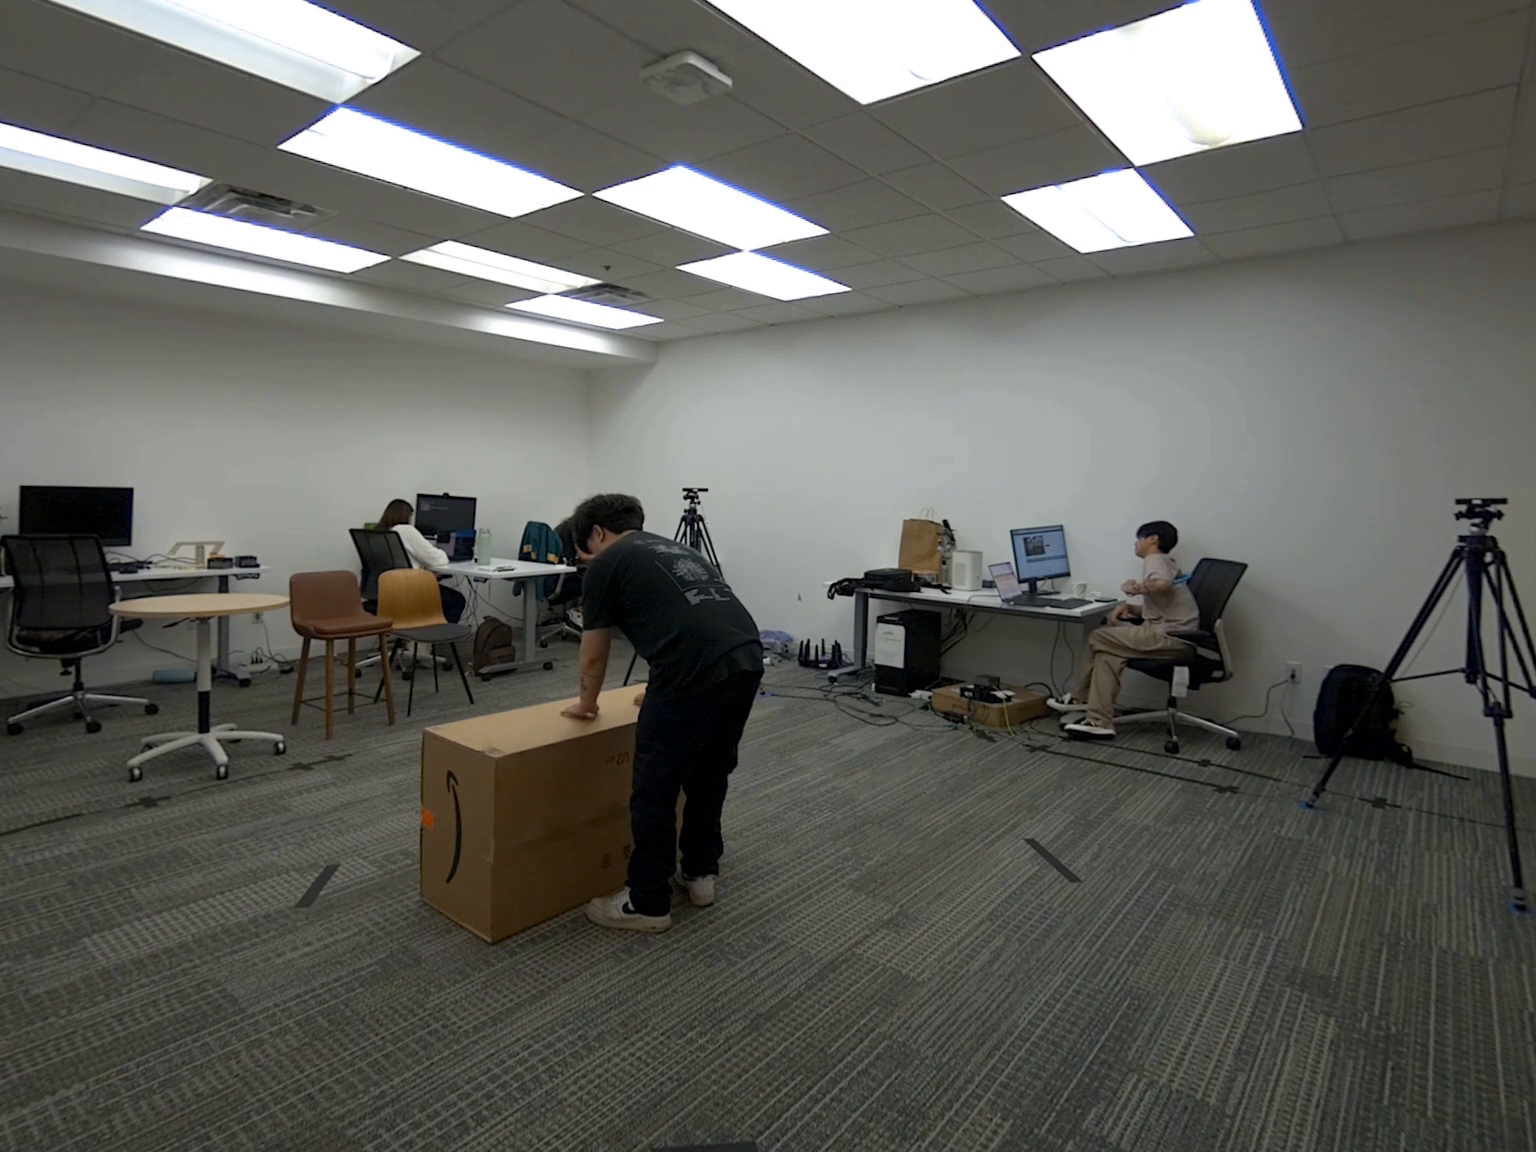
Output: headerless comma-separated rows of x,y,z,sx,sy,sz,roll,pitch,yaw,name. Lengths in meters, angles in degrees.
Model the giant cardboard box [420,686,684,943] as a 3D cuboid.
-0.689,0.780,3.072,0.461,0.582,0.996,3,4,39,giant cardboard box
